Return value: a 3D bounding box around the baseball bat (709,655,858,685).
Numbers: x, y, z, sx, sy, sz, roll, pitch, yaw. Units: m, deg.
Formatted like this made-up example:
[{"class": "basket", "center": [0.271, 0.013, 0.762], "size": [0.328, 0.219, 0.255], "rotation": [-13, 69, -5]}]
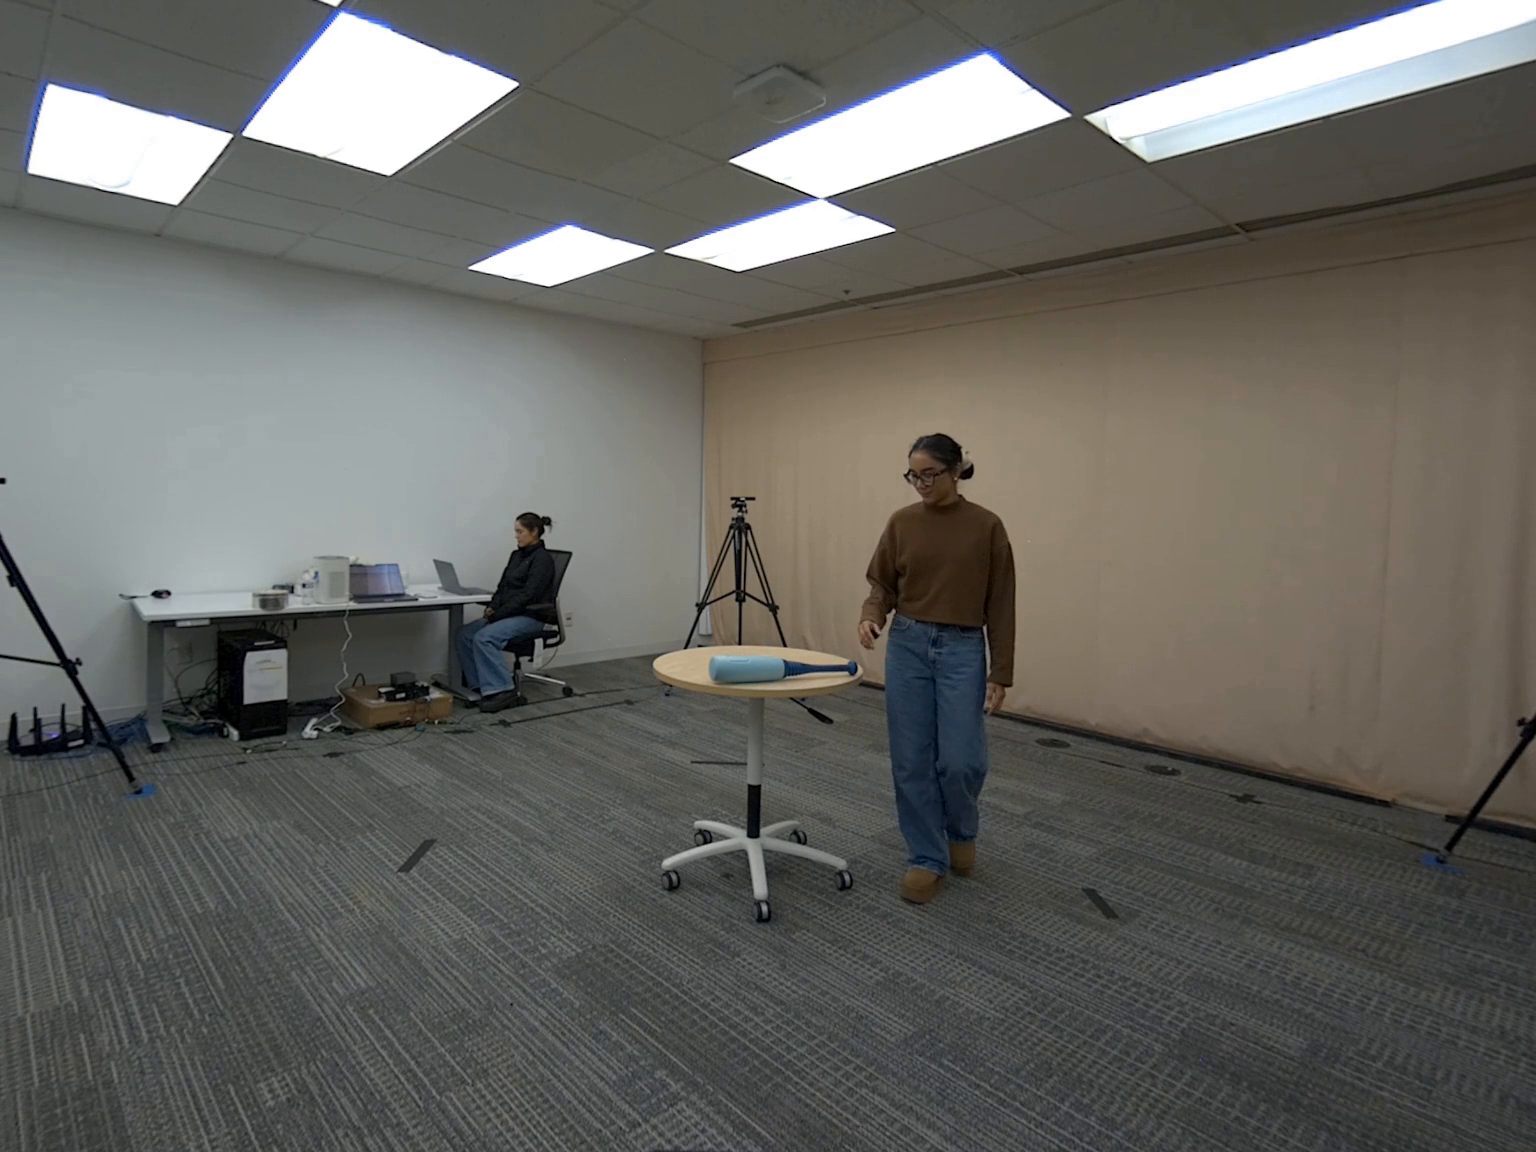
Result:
[{"class": "baseball bat", "center": [0.059, 0.324, 2.849], "size": [0.534, 0.089, 0.090], "rotation": [4, 3, -21]}]
